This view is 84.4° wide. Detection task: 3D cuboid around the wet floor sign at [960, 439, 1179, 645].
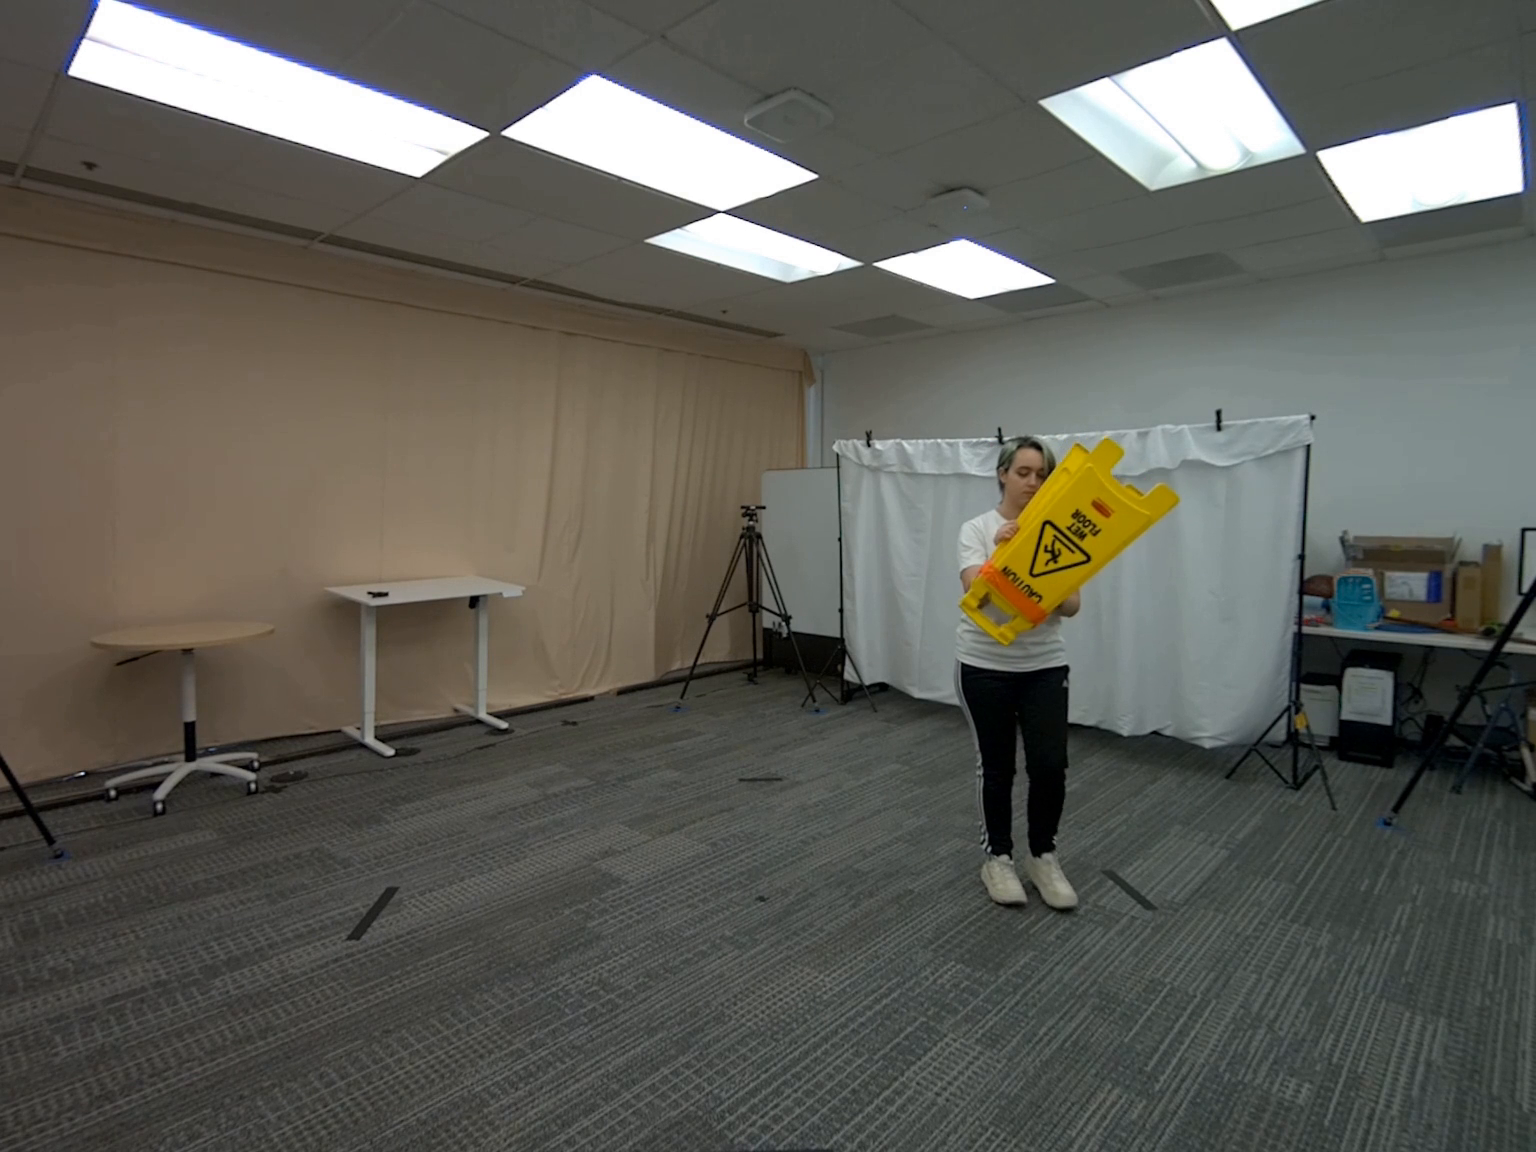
[{"bbox_3d":[0.886,-0.080,2.586,0.283,0.646,0.288,40,4,2],"label":"wet floor sign"}]
